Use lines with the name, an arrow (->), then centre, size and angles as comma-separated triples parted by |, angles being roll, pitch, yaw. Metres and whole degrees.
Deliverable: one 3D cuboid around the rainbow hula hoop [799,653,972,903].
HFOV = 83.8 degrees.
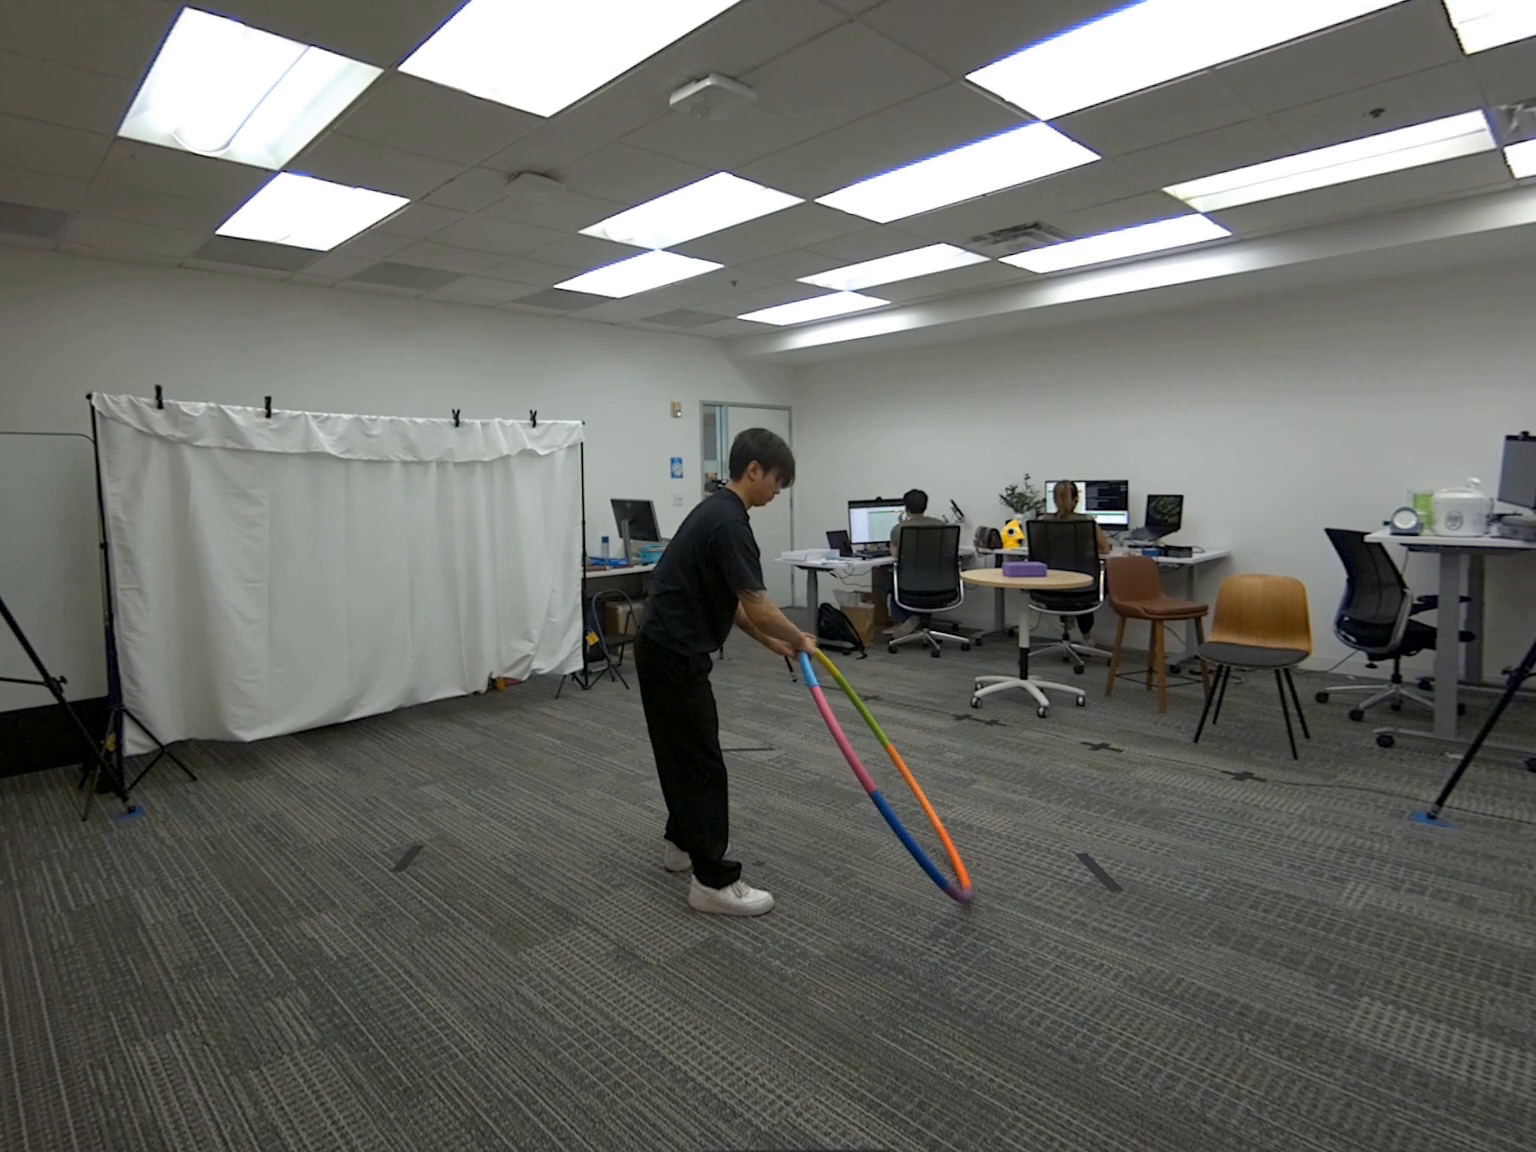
rainbow hula hoop -> 0.406, 0.656, 2.931 | 0.035, 0.980, 0.977 | -36, 1, 7
